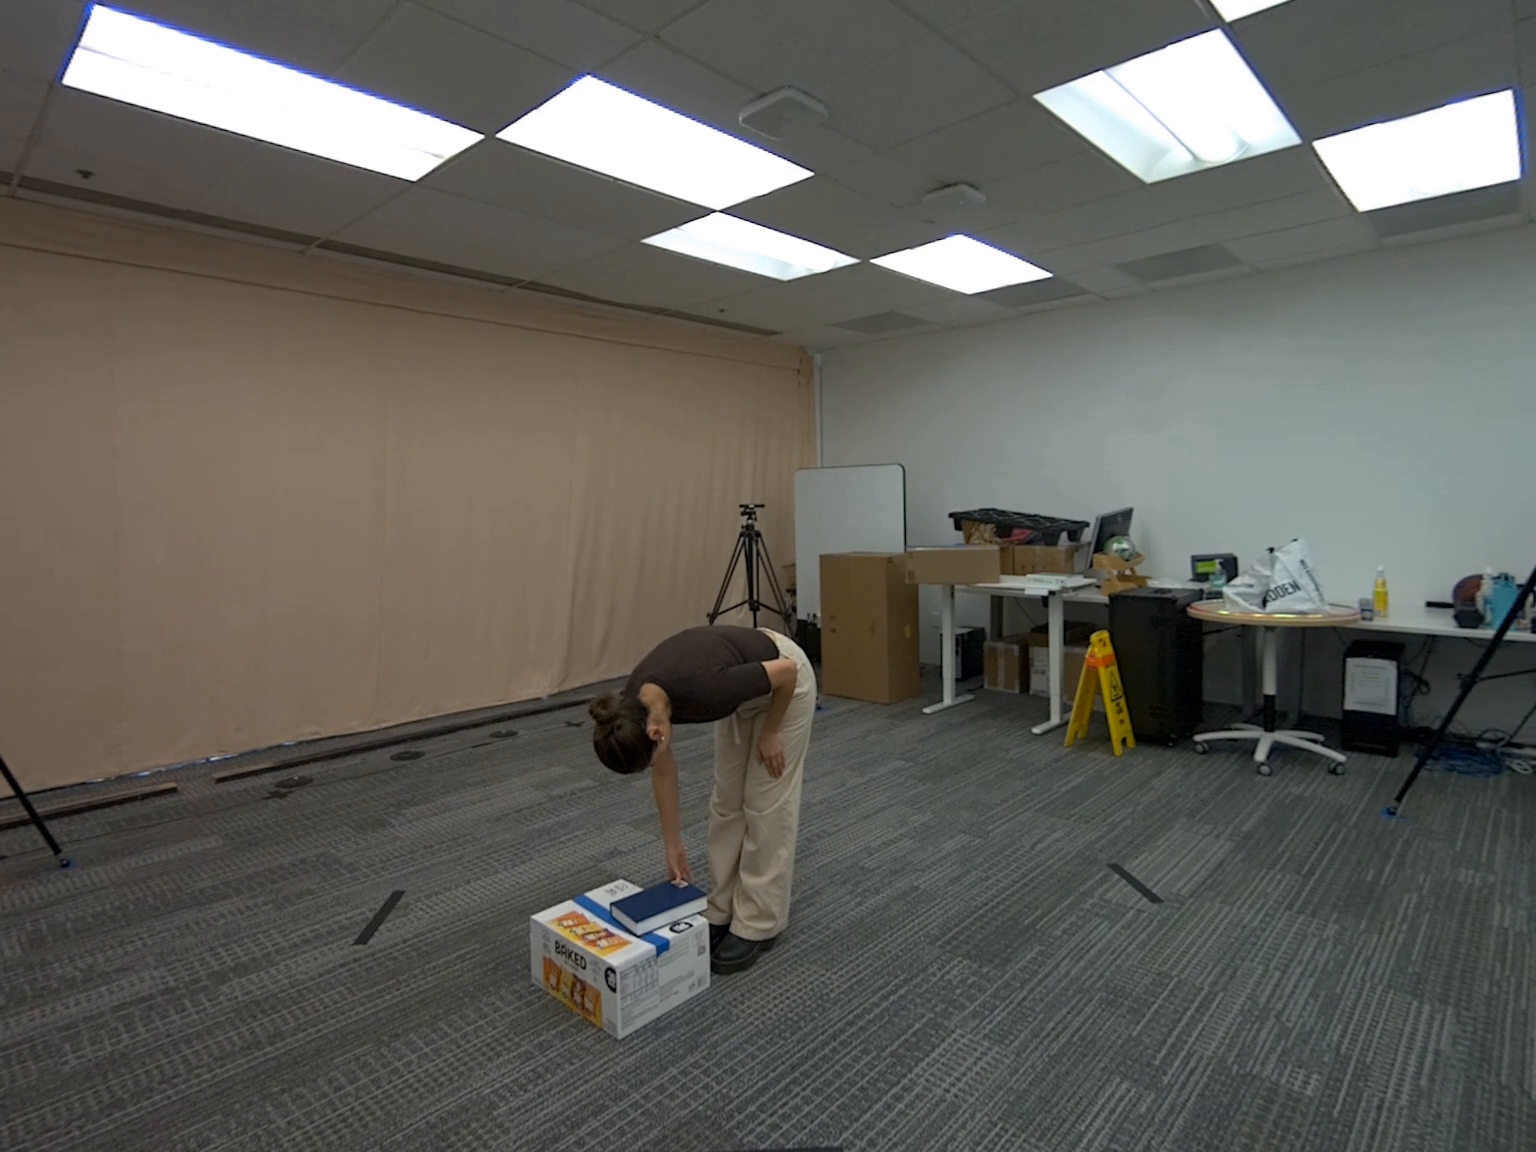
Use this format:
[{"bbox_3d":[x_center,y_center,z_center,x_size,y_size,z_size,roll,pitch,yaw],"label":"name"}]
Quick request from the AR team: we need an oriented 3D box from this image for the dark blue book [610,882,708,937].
[{"bbox_3d":[-0.328,0.979,2.459,0.238,0.045,0.168,-8,7,-37],"label":"dark blue book"}]
